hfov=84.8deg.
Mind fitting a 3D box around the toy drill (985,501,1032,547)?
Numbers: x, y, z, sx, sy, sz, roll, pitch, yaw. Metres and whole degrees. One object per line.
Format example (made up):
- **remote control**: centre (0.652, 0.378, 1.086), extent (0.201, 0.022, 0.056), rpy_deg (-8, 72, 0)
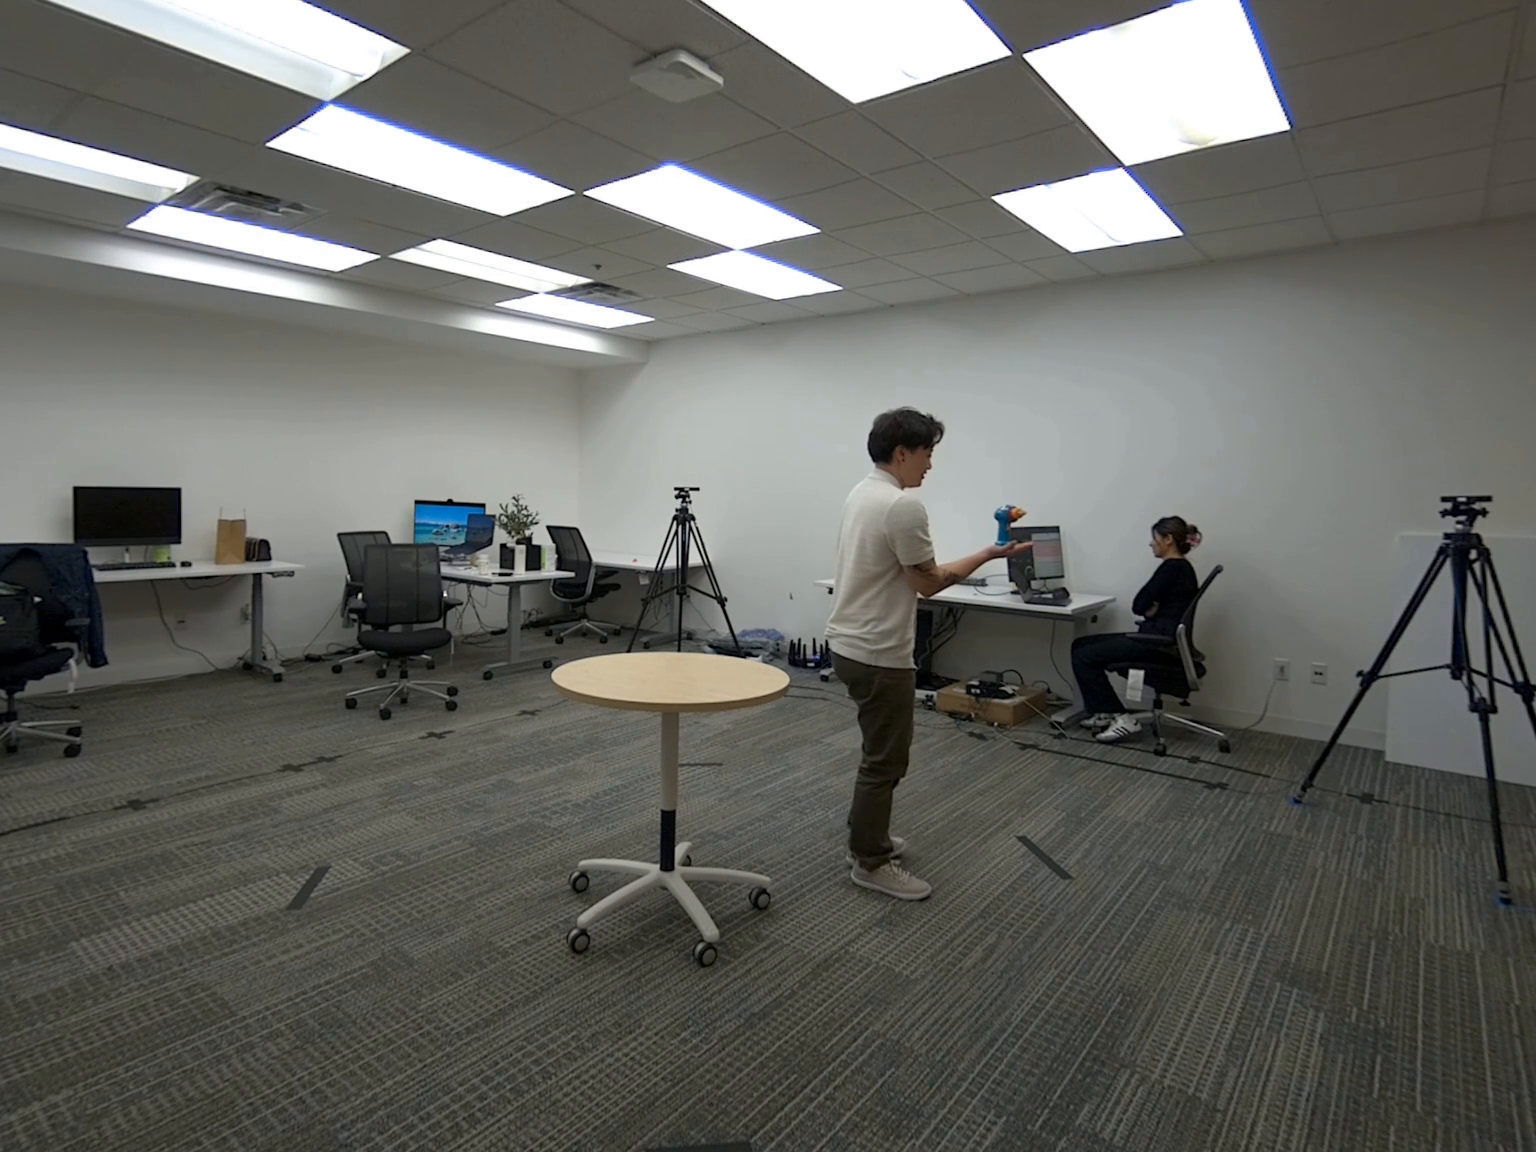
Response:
- **toy drill**: centre (0.807, -0.170, 2.833), extent (0.060, 0.146, 0.172), rpy_deg (-1, -2, -15)
